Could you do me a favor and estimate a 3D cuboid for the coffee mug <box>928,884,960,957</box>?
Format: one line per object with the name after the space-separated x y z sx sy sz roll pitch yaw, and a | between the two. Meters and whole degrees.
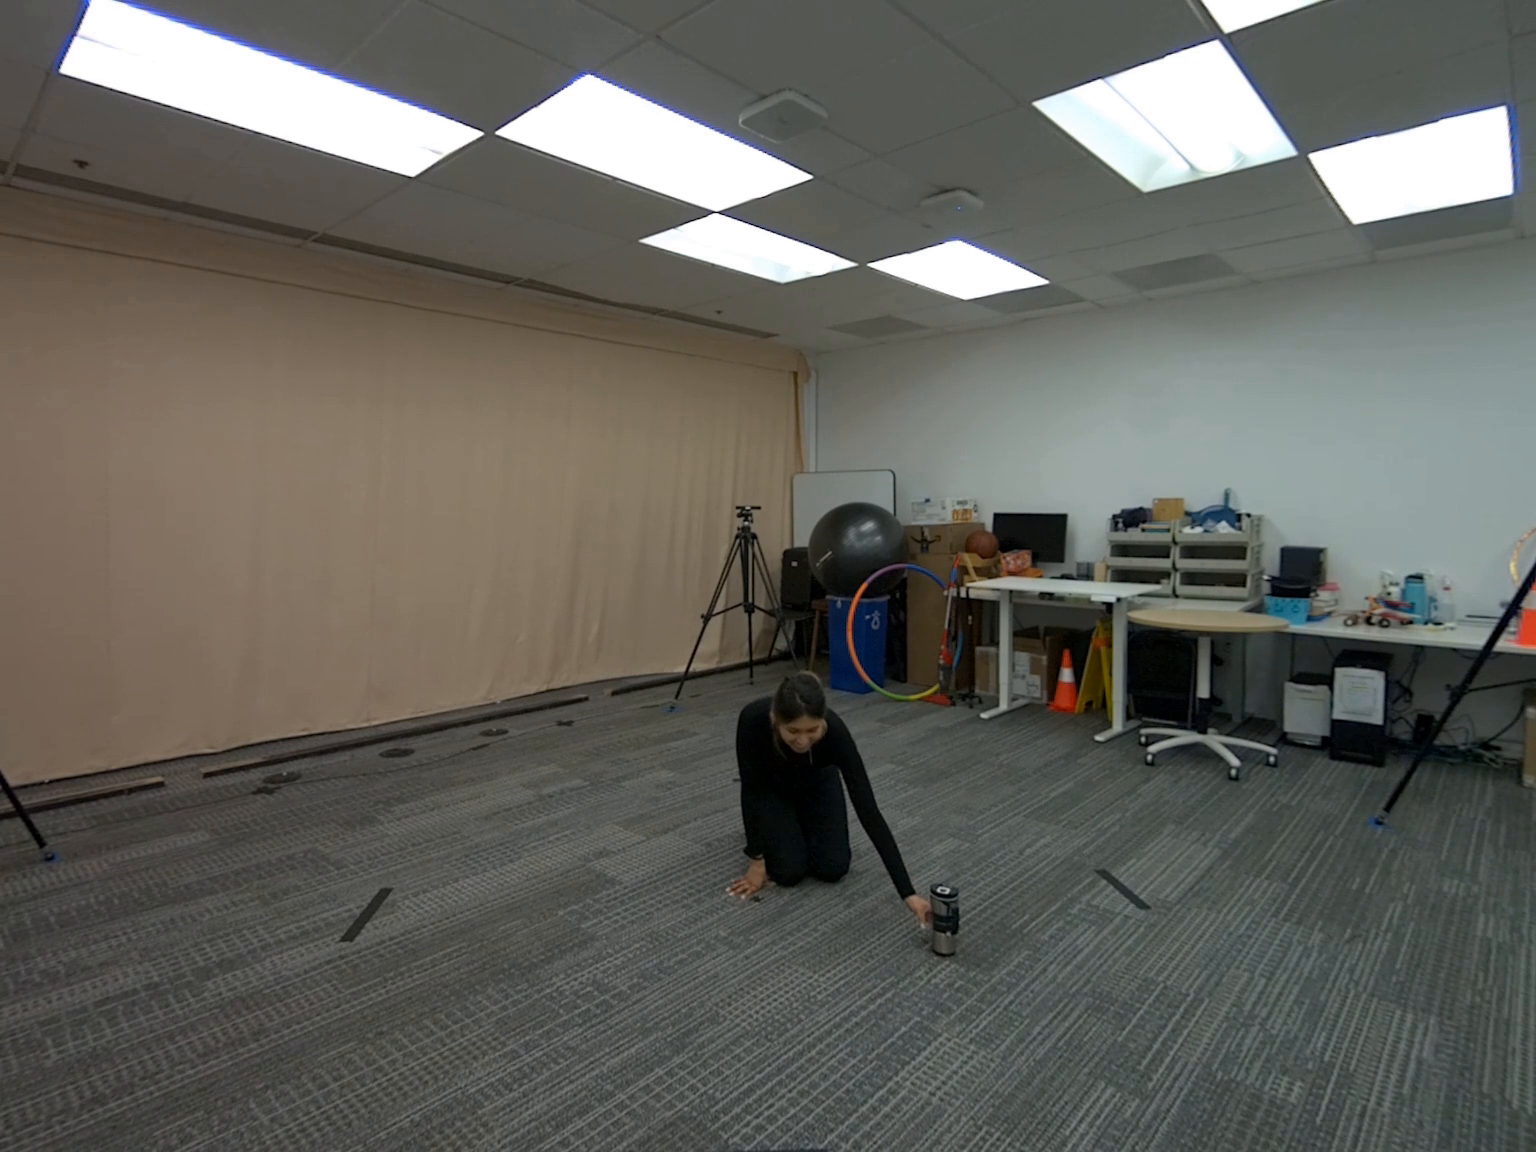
0.552 1.075 2.599 0.090 0.203 0.119 2 -1 22 | coffee mug
